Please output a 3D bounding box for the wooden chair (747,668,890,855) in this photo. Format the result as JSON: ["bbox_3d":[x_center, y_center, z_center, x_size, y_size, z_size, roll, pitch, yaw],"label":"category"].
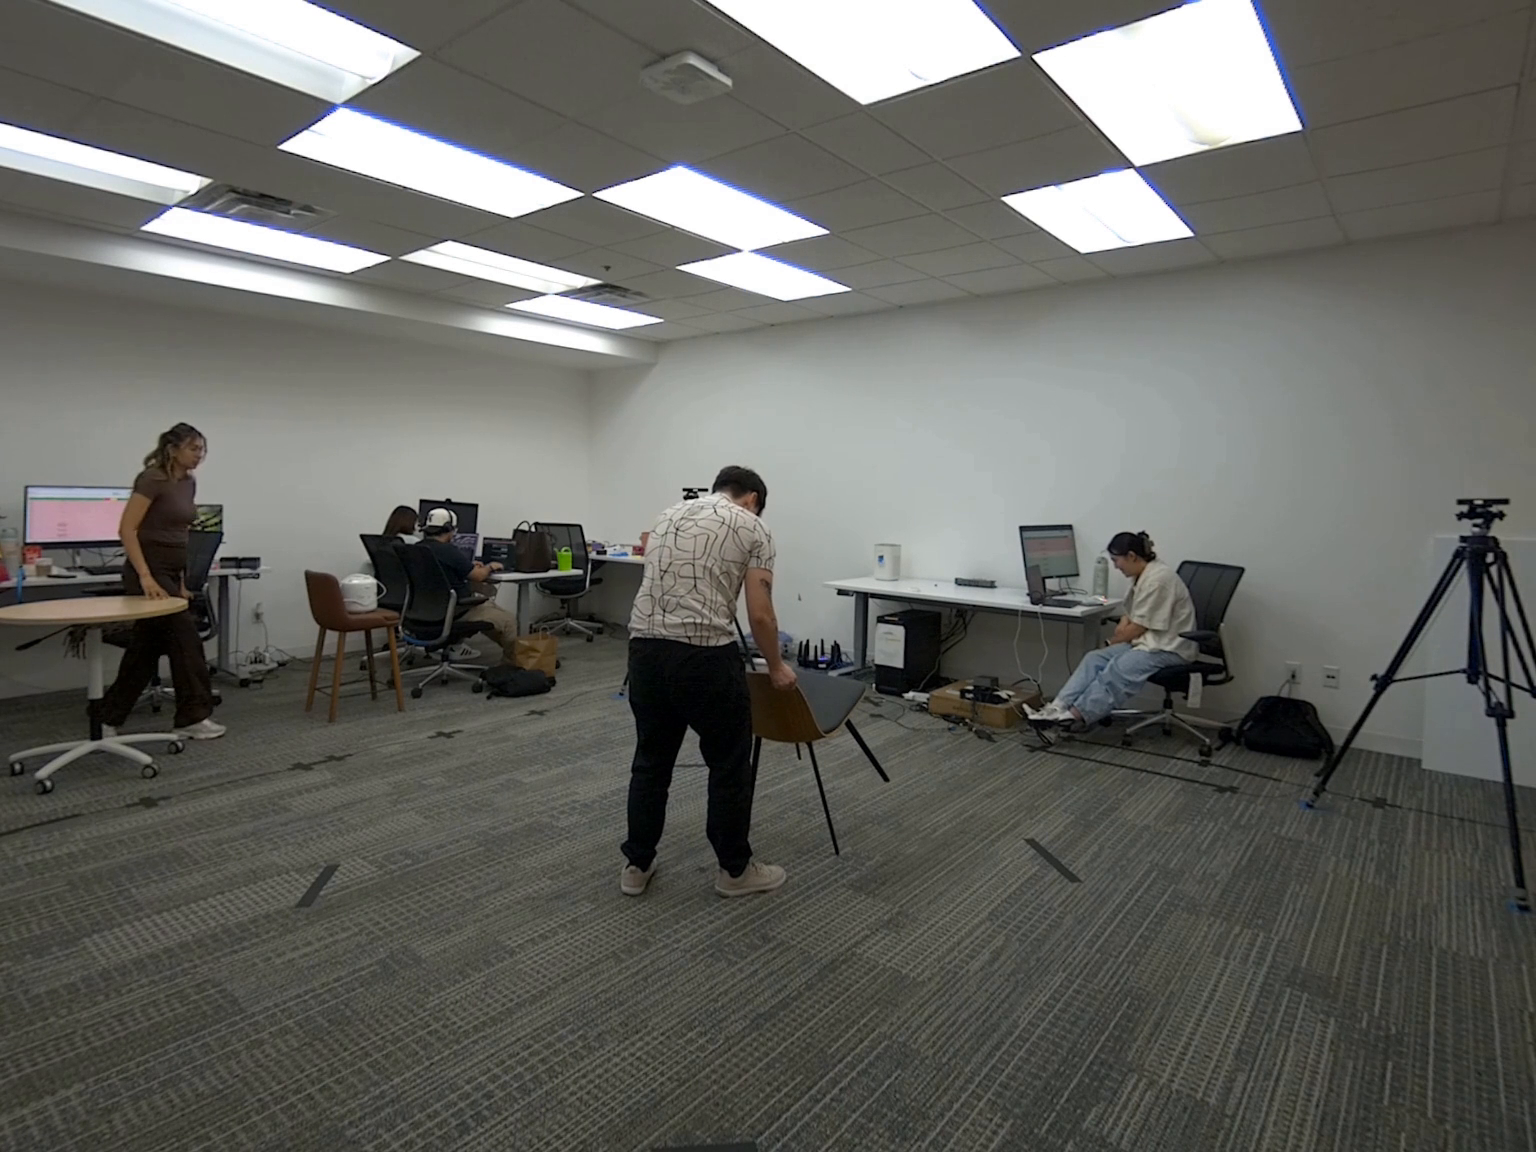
[{"bbox_3d":[0.108,0.560,3.400,0.494,0.853,0.521,4,32,37],"label":"wooden chair"}]
